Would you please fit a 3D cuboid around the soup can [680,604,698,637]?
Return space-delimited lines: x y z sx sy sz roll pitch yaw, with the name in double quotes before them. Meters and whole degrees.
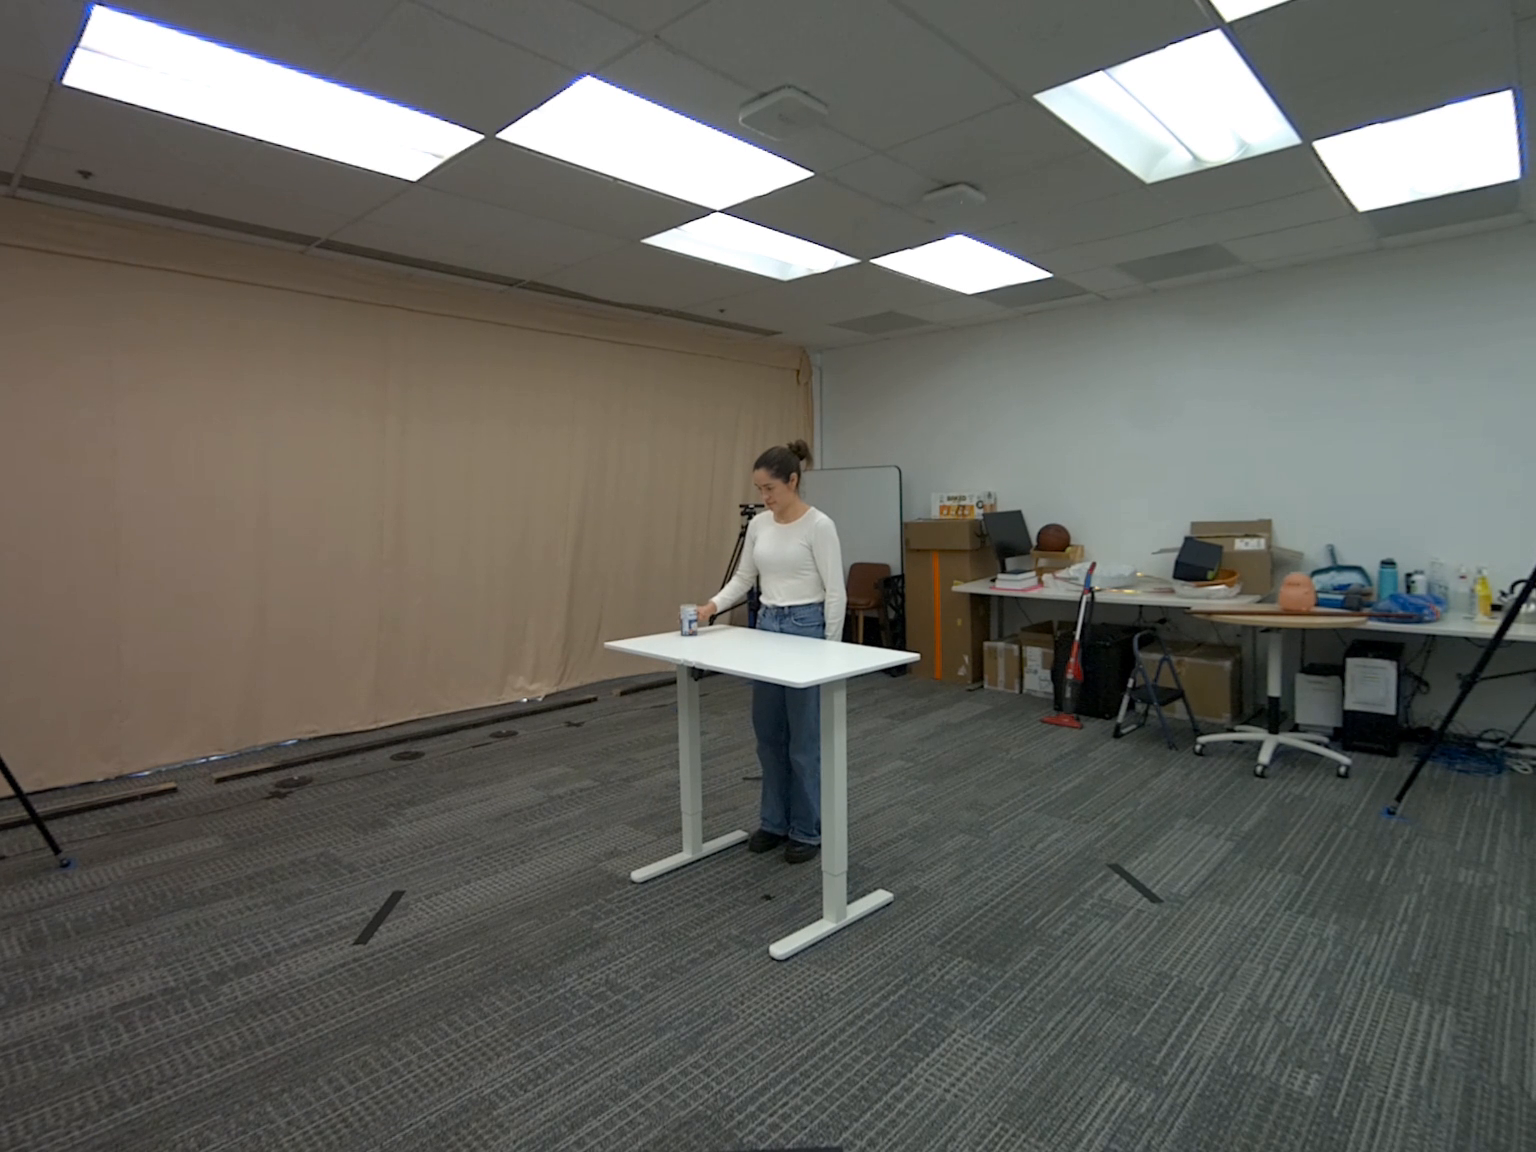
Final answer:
"soup can" -0.288 0.195 3.331 0.119 0.067 0.069 -12 8 -24
